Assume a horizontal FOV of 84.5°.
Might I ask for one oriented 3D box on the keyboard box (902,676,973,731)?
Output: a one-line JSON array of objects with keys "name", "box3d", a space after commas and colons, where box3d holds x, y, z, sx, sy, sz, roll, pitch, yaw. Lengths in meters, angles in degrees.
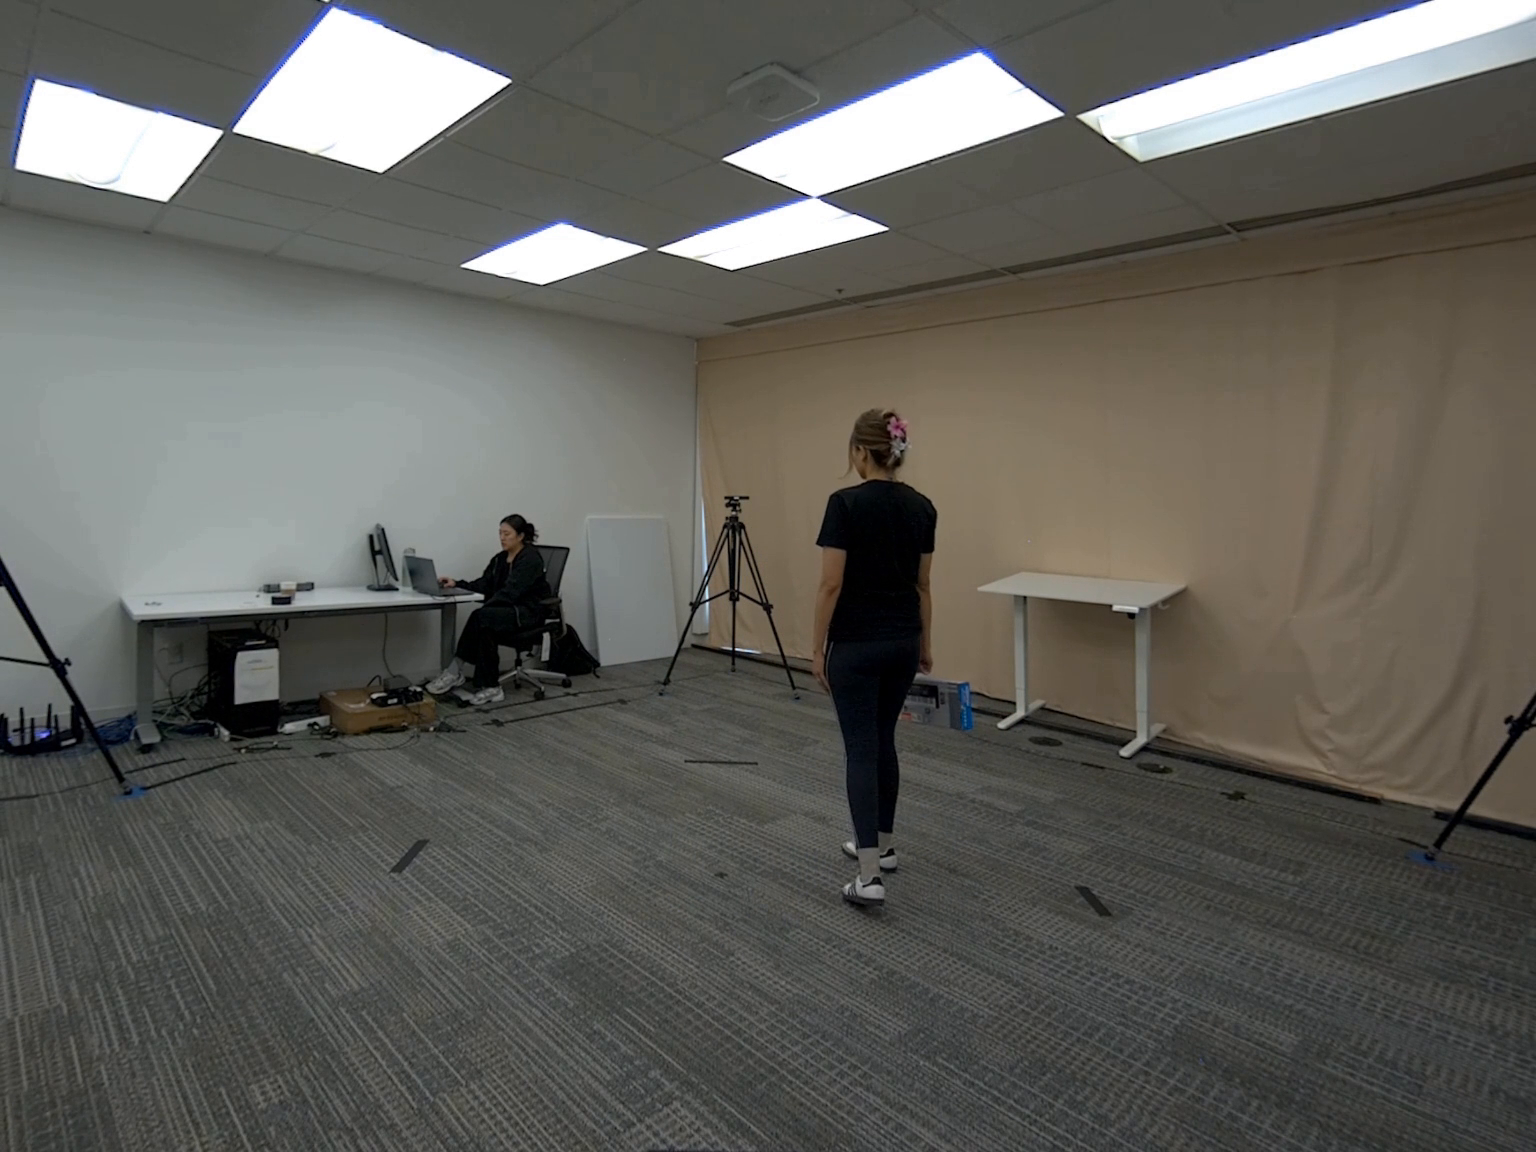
[{"name": "keyboard box", "box3d": [0.593, 0.488, 3.284, 0.058, 0.176, 0.446, -3, 0, -36]}]
